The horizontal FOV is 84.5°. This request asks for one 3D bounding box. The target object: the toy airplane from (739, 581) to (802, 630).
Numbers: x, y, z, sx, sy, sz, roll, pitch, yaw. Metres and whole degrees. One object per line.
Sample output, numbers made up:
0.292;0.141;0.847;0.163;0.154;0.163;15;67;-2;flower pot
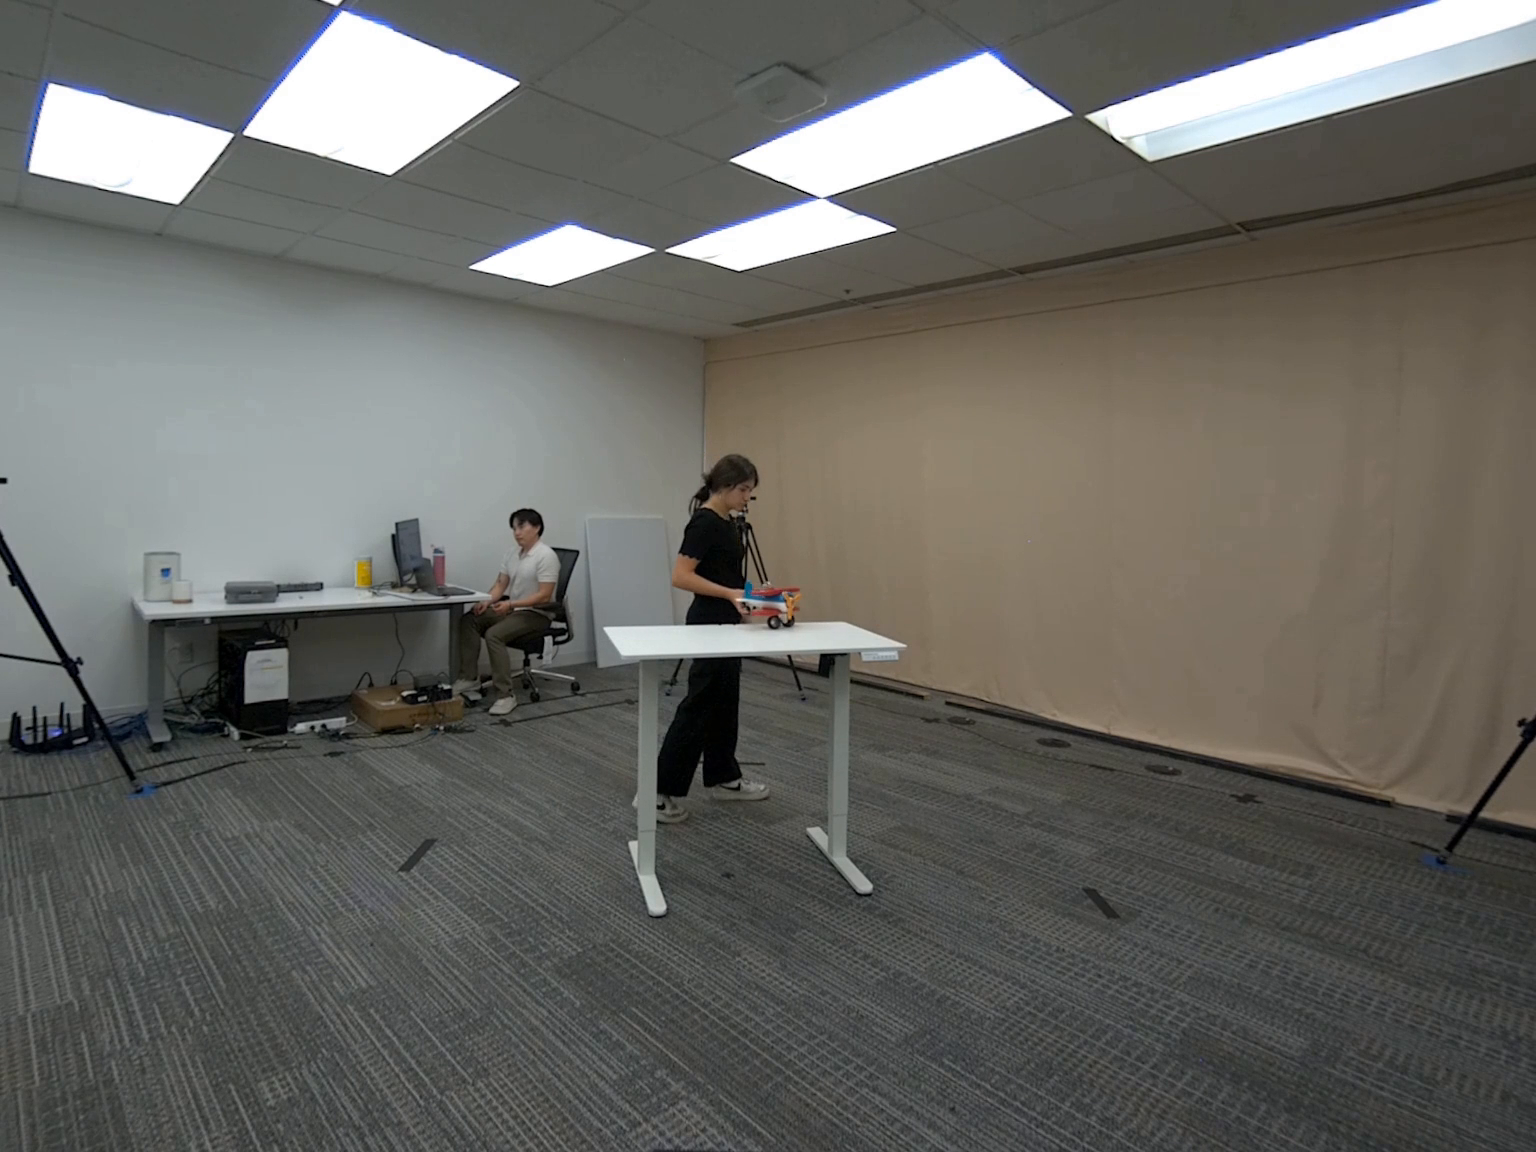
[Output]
-0.016;0.110;3.357;0.262;0.155;0.250;14;13;13;toy airplane
